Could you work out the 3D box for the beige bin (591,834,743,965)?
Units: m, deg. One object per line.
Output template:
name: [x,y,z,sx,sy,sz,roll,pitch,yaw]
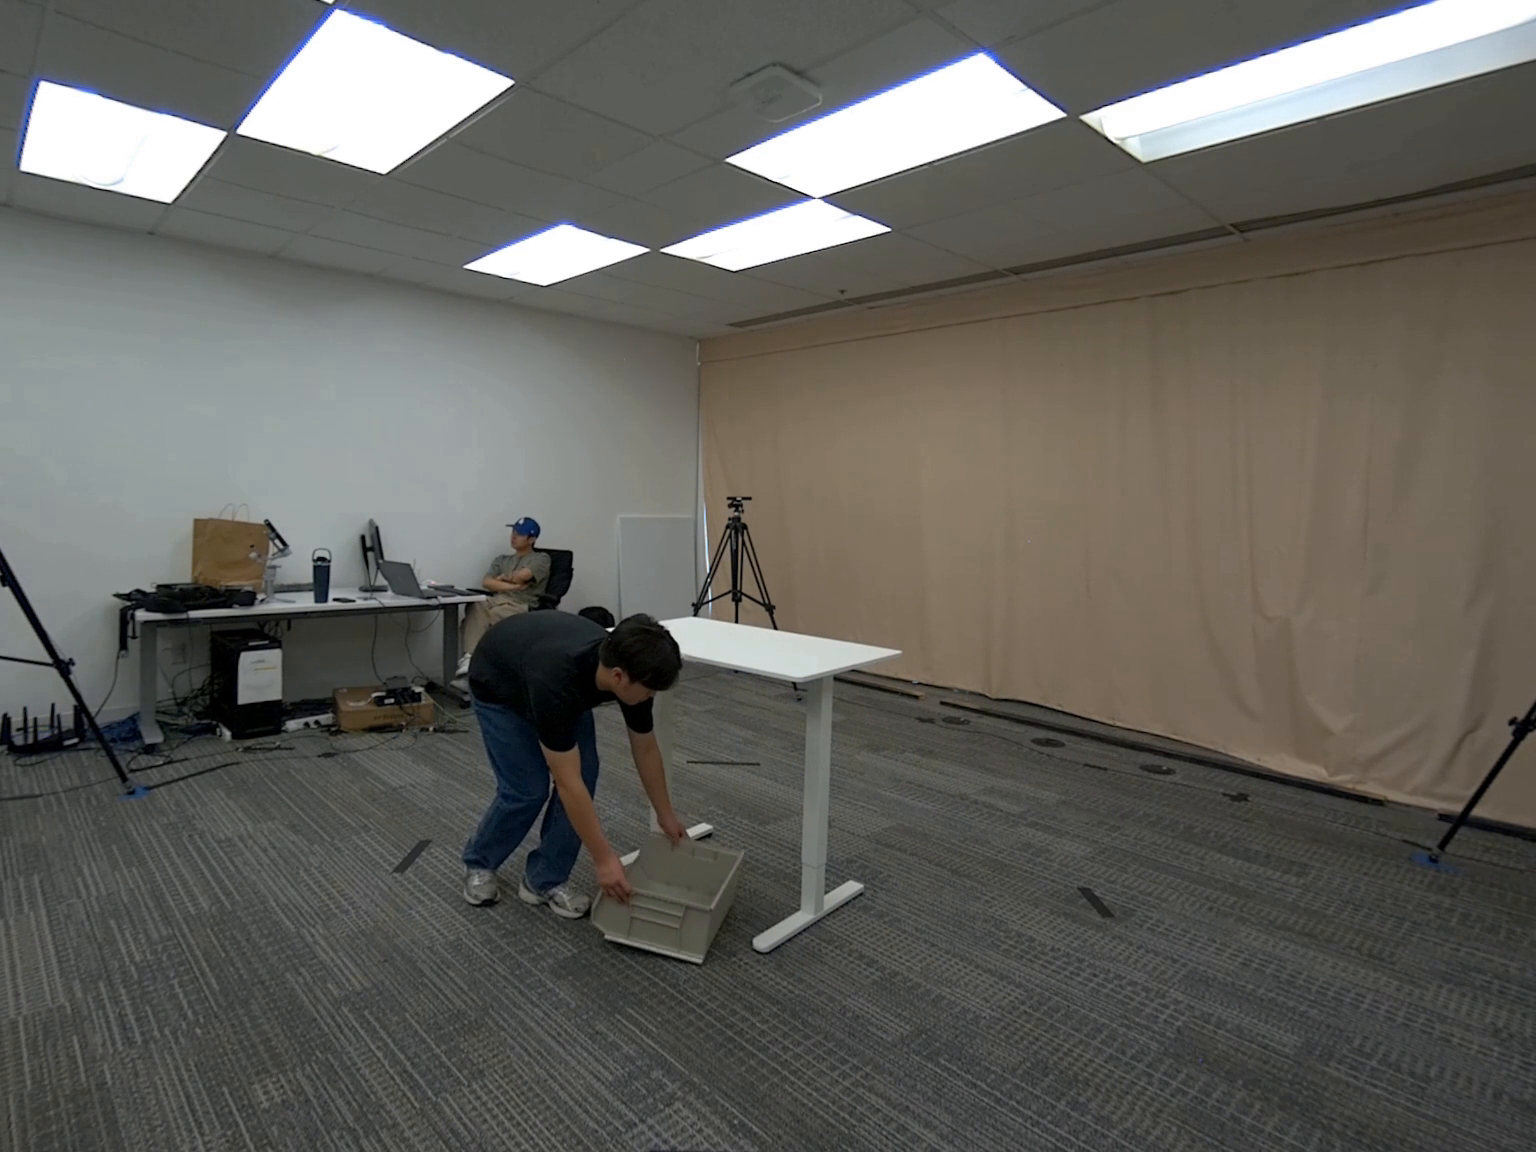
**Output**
beige bin: [-0.323,1.023,2.719,0.382,0.188,0.419,6,6,12]
